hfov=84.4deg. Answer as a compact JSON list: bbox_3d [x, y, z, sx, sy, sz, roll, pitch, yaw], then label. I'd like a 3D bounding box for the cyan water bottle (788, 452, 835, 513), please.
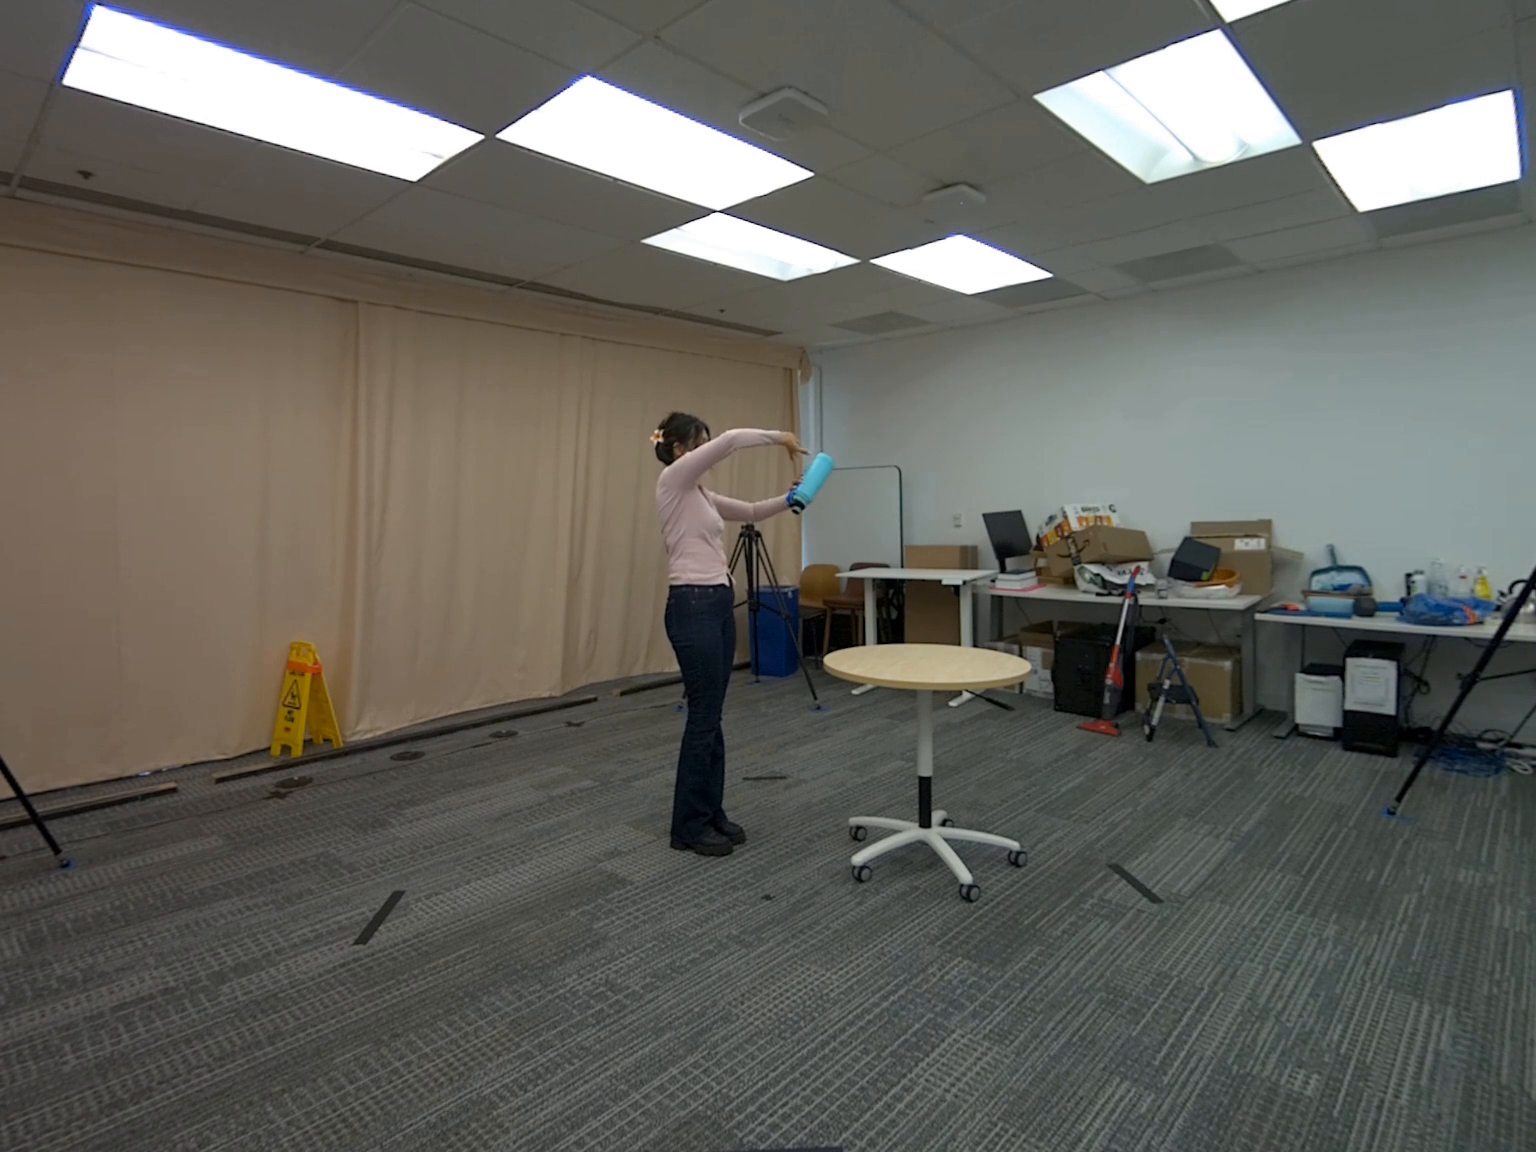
[{"bbox_3d":[0.177,-0.369,3.418,0.094,0.283,0.091,28,-26,13],"label":"cyan water bottle"}]
